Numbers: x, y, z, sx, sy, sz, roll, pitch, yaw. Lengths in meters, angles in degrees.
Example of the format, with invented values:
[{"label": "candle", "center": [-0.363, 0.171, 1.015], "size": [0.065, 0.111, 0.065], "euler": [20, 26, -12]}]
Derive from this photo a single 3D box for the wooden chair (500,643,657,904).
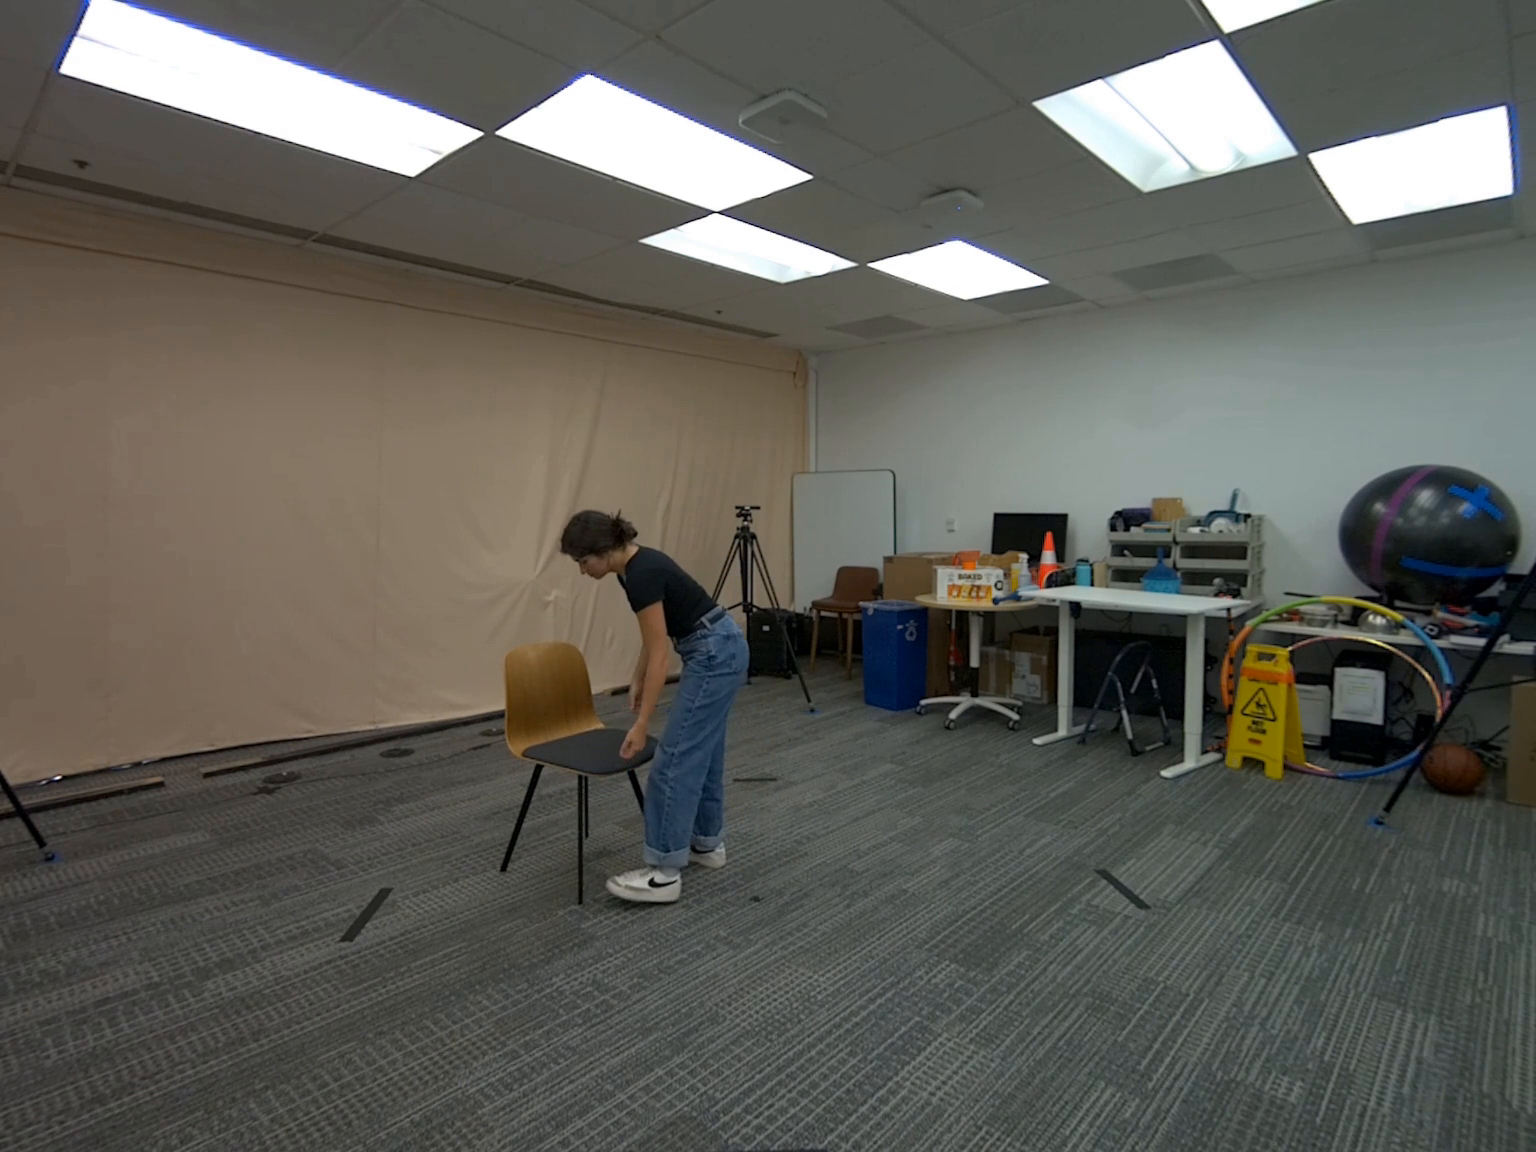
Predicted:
[{"label": "wooden chair", "center": [-0.706, 0.698, 3.229], "size": [0.539, 0.877, 0.464], "euler": [-4, 0, 38]}]
